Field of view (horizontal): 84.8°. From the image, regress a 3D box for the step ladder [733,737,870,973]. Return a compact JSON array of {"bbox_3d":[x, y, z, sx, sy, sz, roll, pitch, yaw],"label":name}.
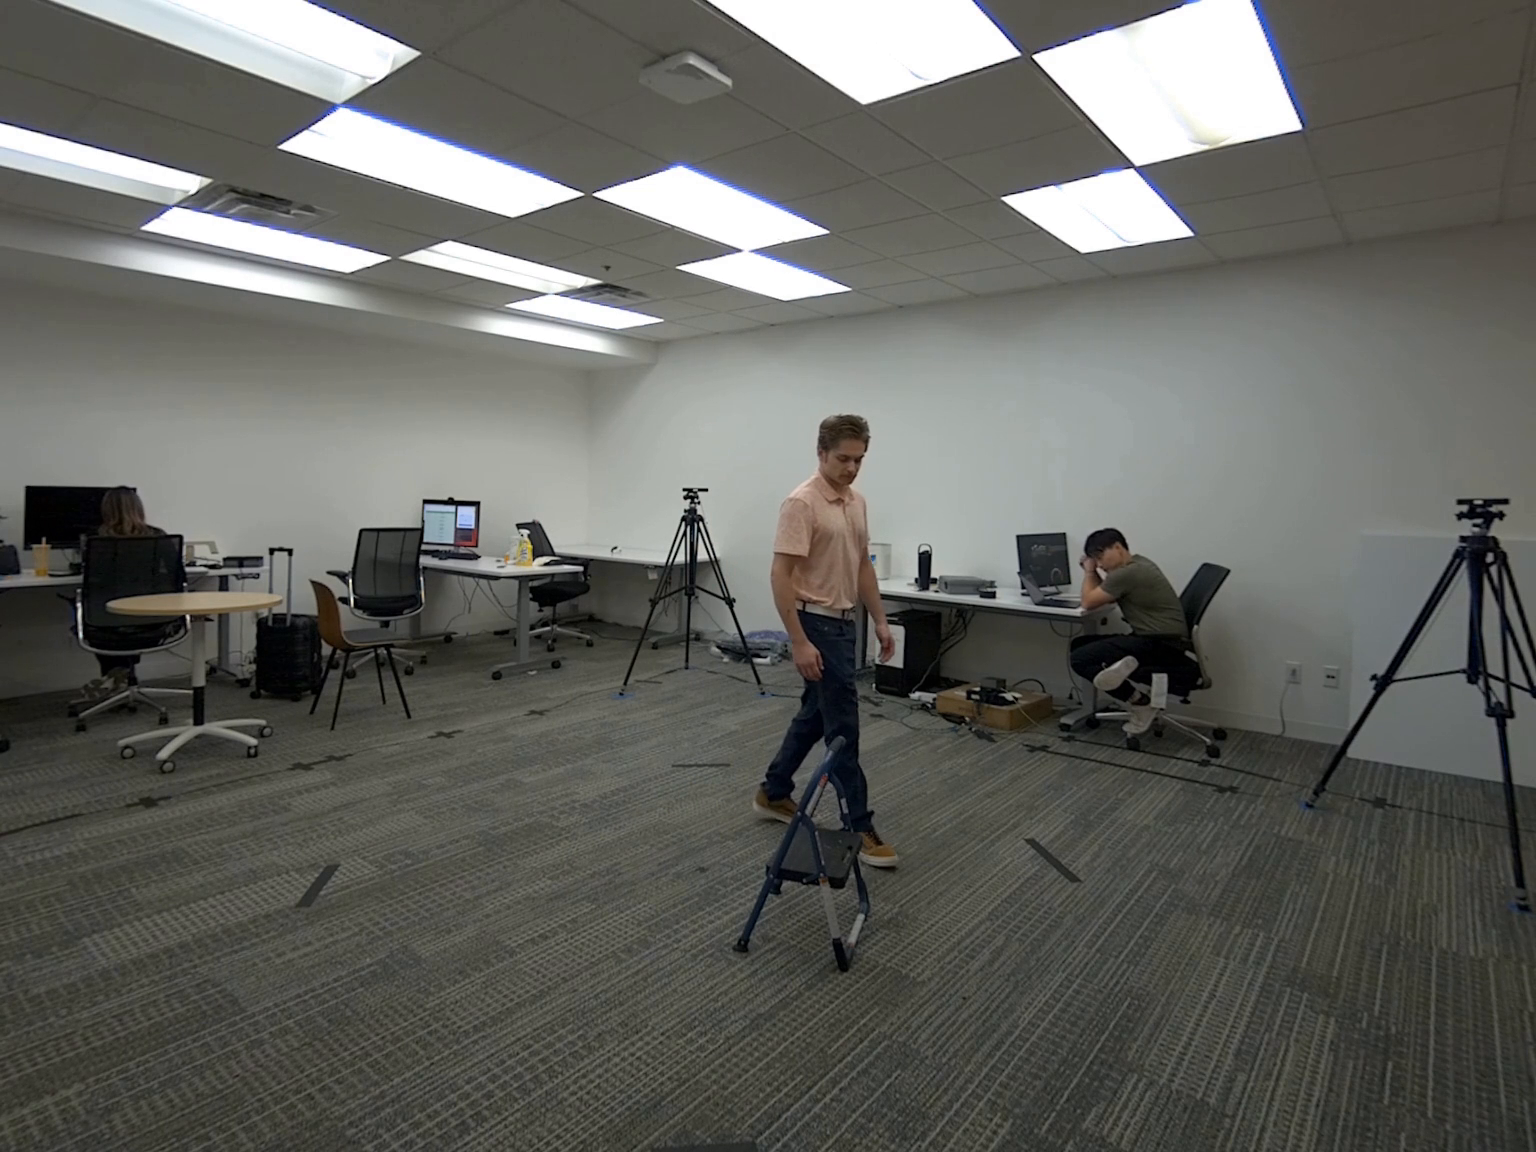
[{"bbox_3d":[0.119,0.816,2.687,0.356,0.604,0.424,2,4,16],"label":"step ladder"}]
